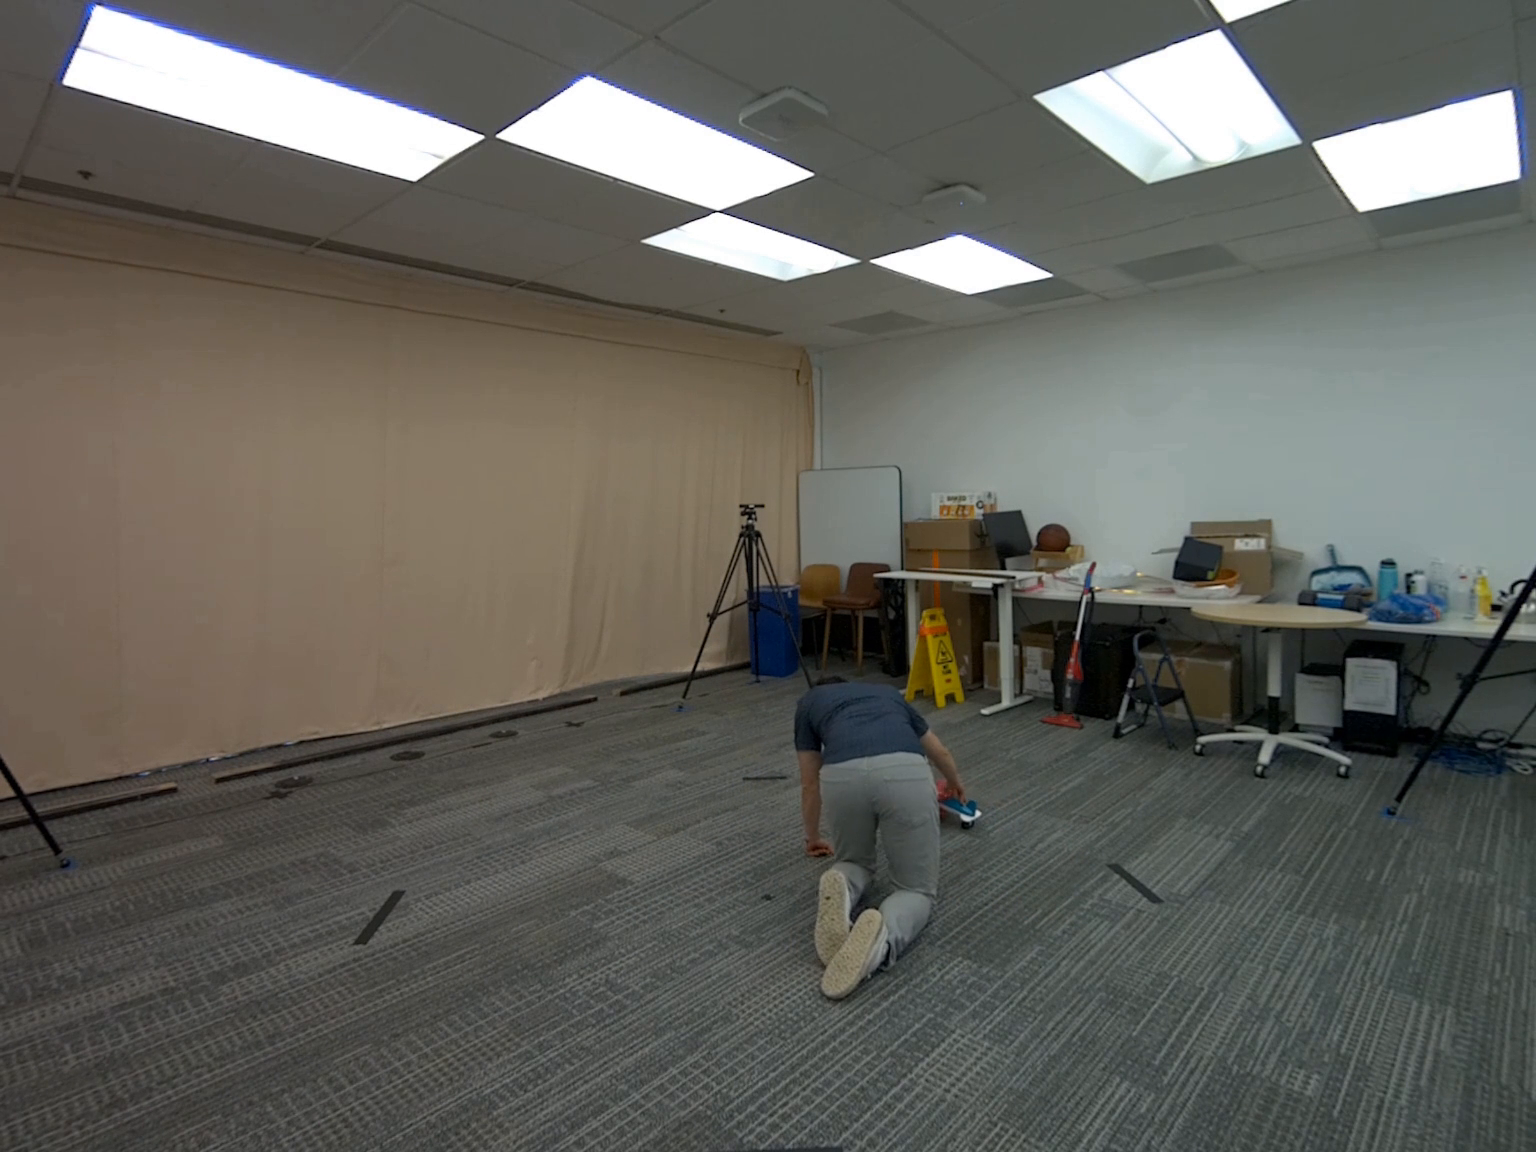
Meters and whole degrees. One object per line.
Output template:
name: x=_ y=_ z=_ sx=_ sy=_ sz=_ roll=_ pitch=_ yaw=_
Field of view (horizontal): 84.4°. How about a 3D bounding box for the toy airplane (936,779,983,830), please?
toy airplane: x=0.802 y=0.994 z=3.670 sx=0.264 sy=0.156 sz=0.247 roll=-2 pitch=6 yaw=18
